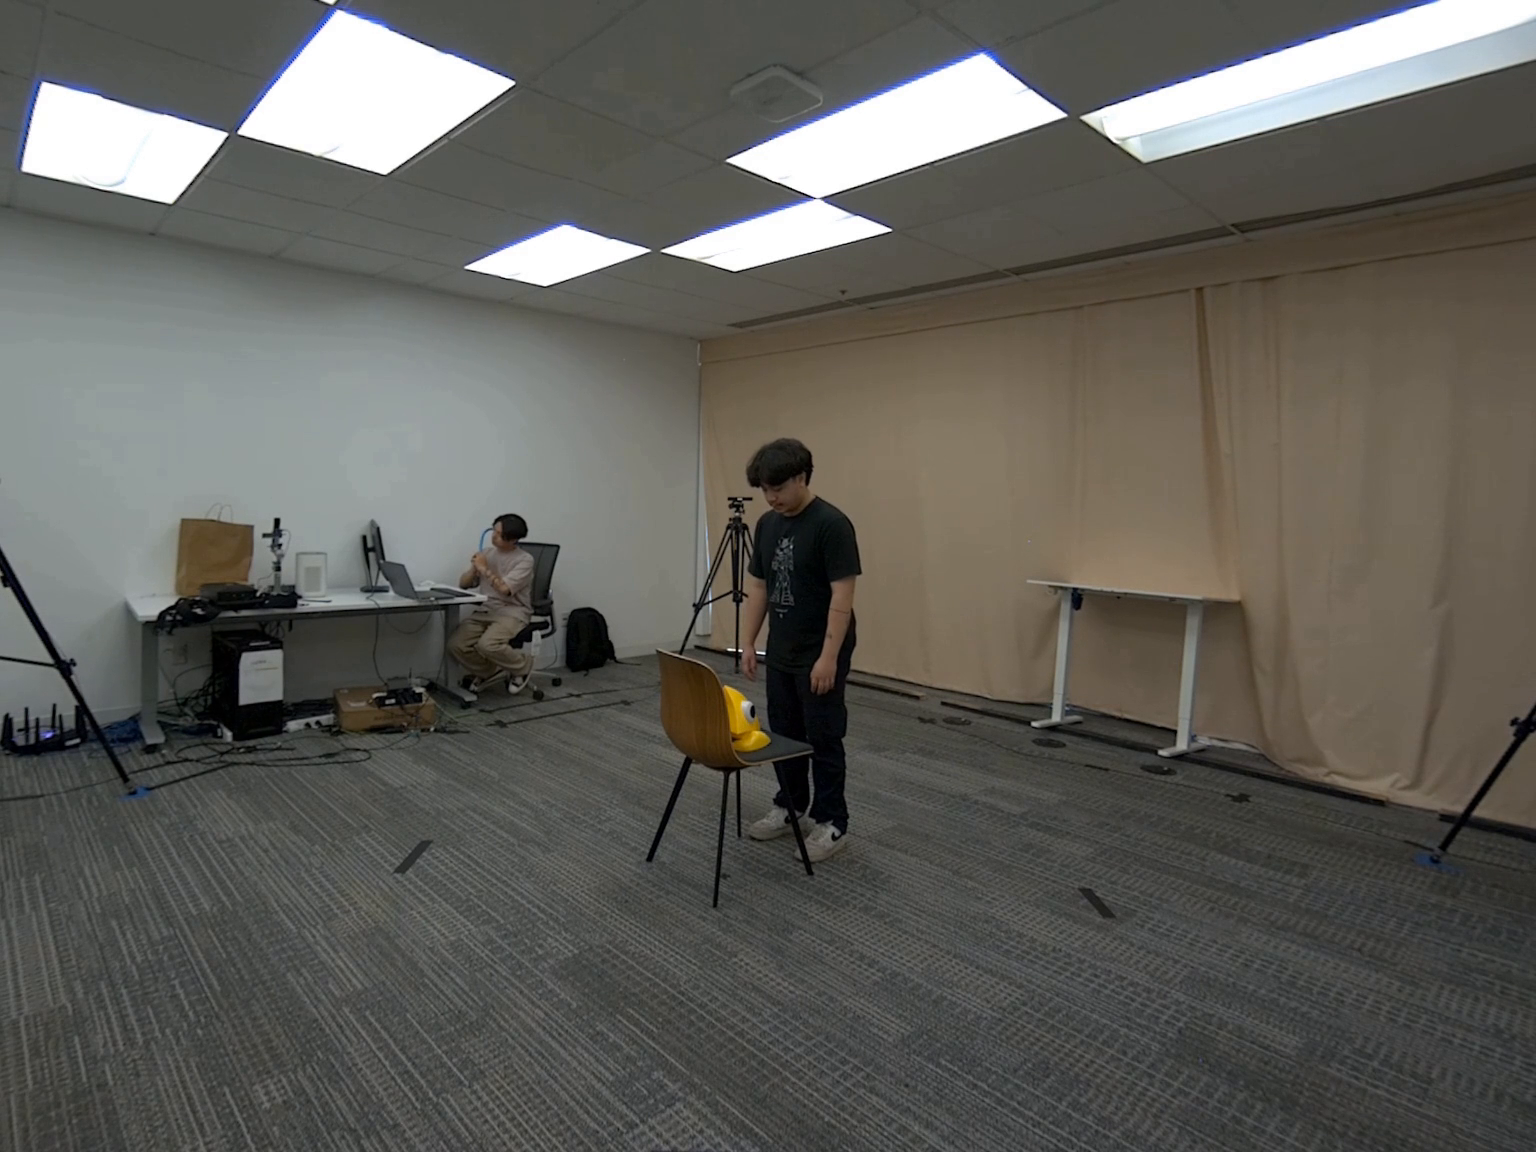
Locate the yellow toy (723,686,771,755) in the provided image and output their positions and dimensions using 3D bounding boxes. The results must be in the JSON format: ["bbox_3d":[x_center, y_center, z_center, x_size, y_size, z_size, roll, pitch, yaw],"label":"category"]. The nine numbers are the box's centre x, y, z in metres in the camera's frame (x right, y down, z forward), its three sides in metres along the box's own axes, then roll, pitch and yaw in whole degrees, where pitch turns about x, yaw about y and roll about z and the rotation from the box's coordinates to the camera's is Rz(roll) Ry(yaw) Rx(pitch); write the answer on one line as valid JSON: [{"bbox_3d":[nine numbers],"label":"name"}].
[{"bbox_3d":[-0.115,0.515,3.139,0.189,0.229,0.210,-8,8,-38],"label":"yellow toy"}]
